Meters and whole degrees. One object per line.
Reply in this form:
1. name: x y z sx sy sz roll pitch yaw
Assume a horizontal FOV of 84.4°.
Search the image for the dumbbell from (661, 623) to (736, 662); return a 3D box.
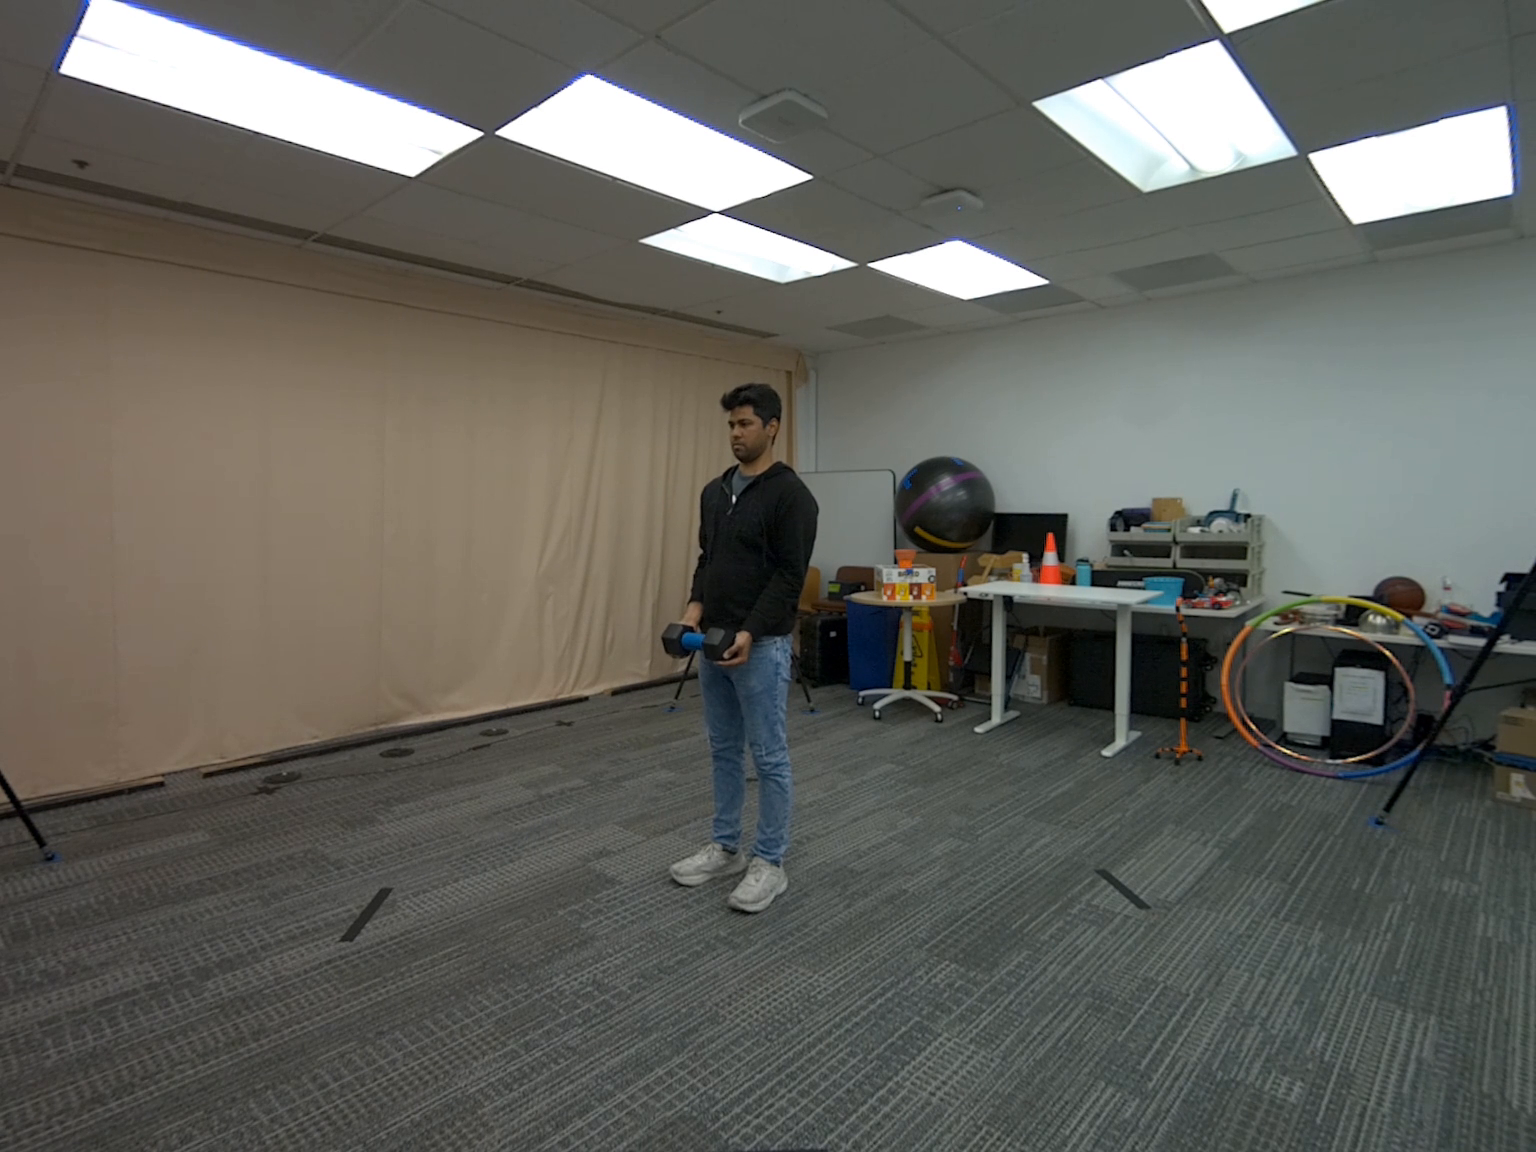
1. dumbbell: -0.241 0.206 2.892 0.303 0.121 0.106 3 22 45
